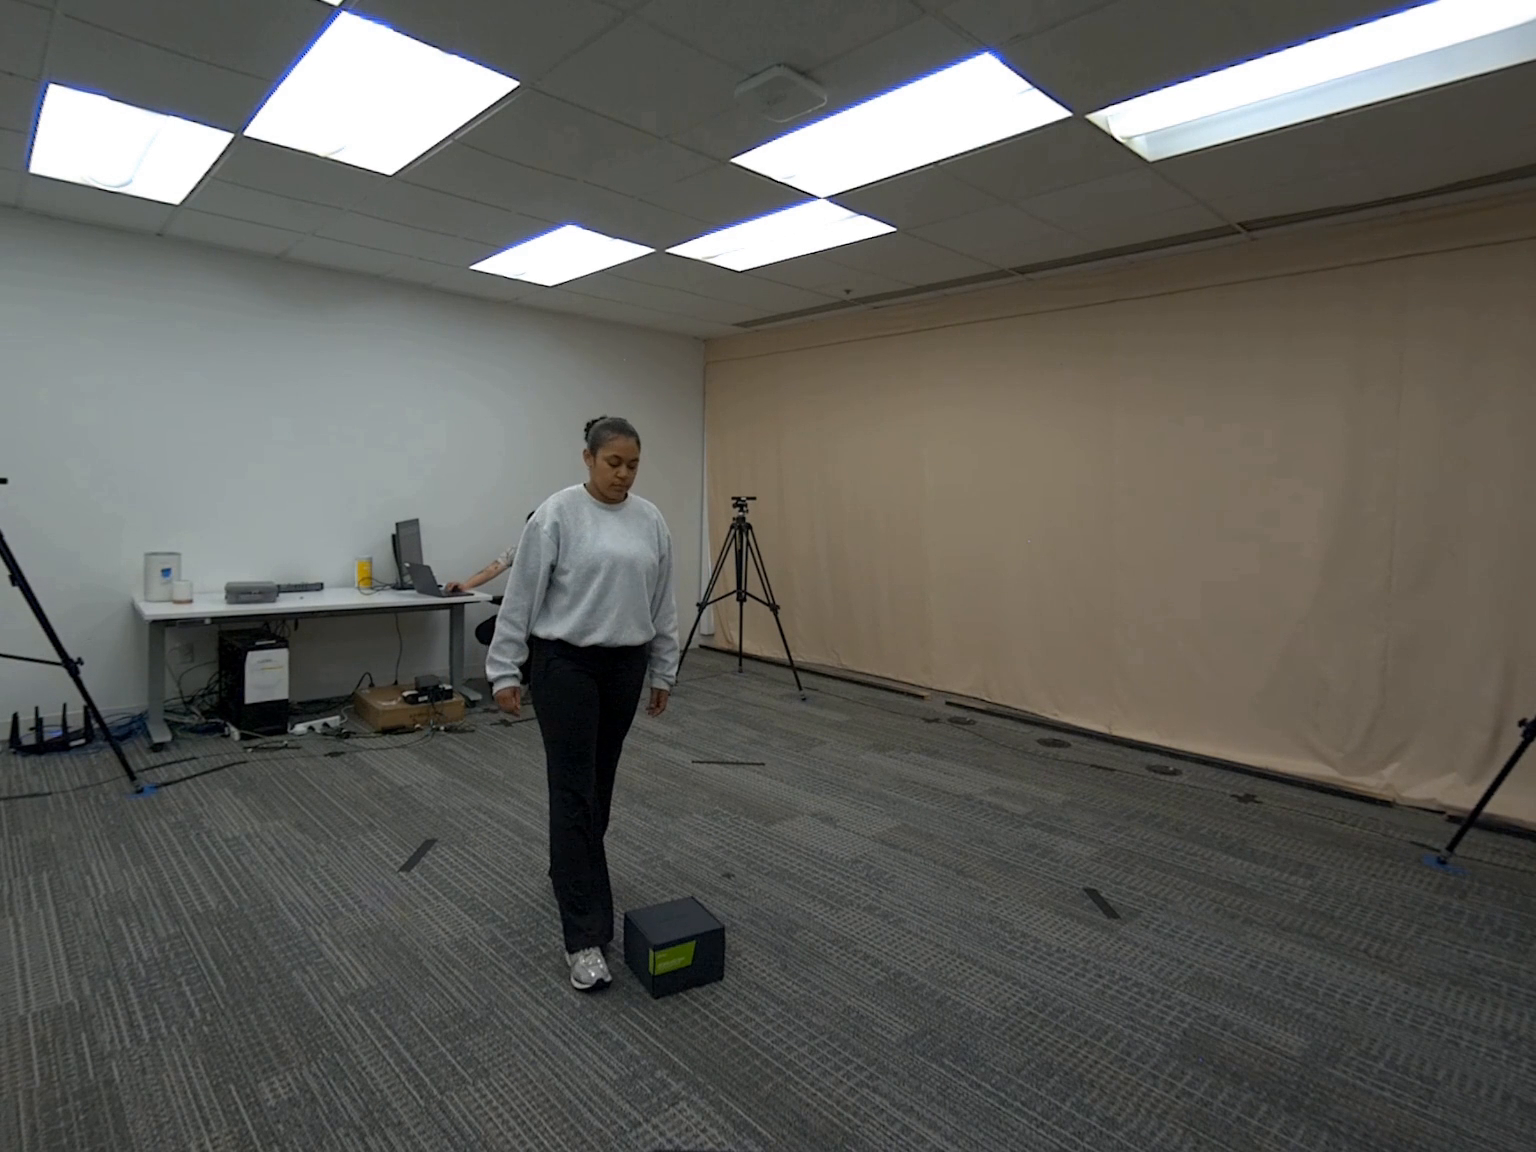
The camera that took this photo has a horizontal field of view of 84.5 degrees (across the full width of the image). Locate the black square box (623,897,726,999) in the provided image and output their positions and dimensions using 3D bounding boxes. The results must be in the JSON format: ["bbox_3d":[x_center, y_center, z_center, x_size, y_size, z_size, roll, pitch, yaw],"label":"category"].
[{"bbox_3d":[-0.289,1.081,2.461,0.223,0.155,0.222,-1,5,-31],"label":"black square box"}]
